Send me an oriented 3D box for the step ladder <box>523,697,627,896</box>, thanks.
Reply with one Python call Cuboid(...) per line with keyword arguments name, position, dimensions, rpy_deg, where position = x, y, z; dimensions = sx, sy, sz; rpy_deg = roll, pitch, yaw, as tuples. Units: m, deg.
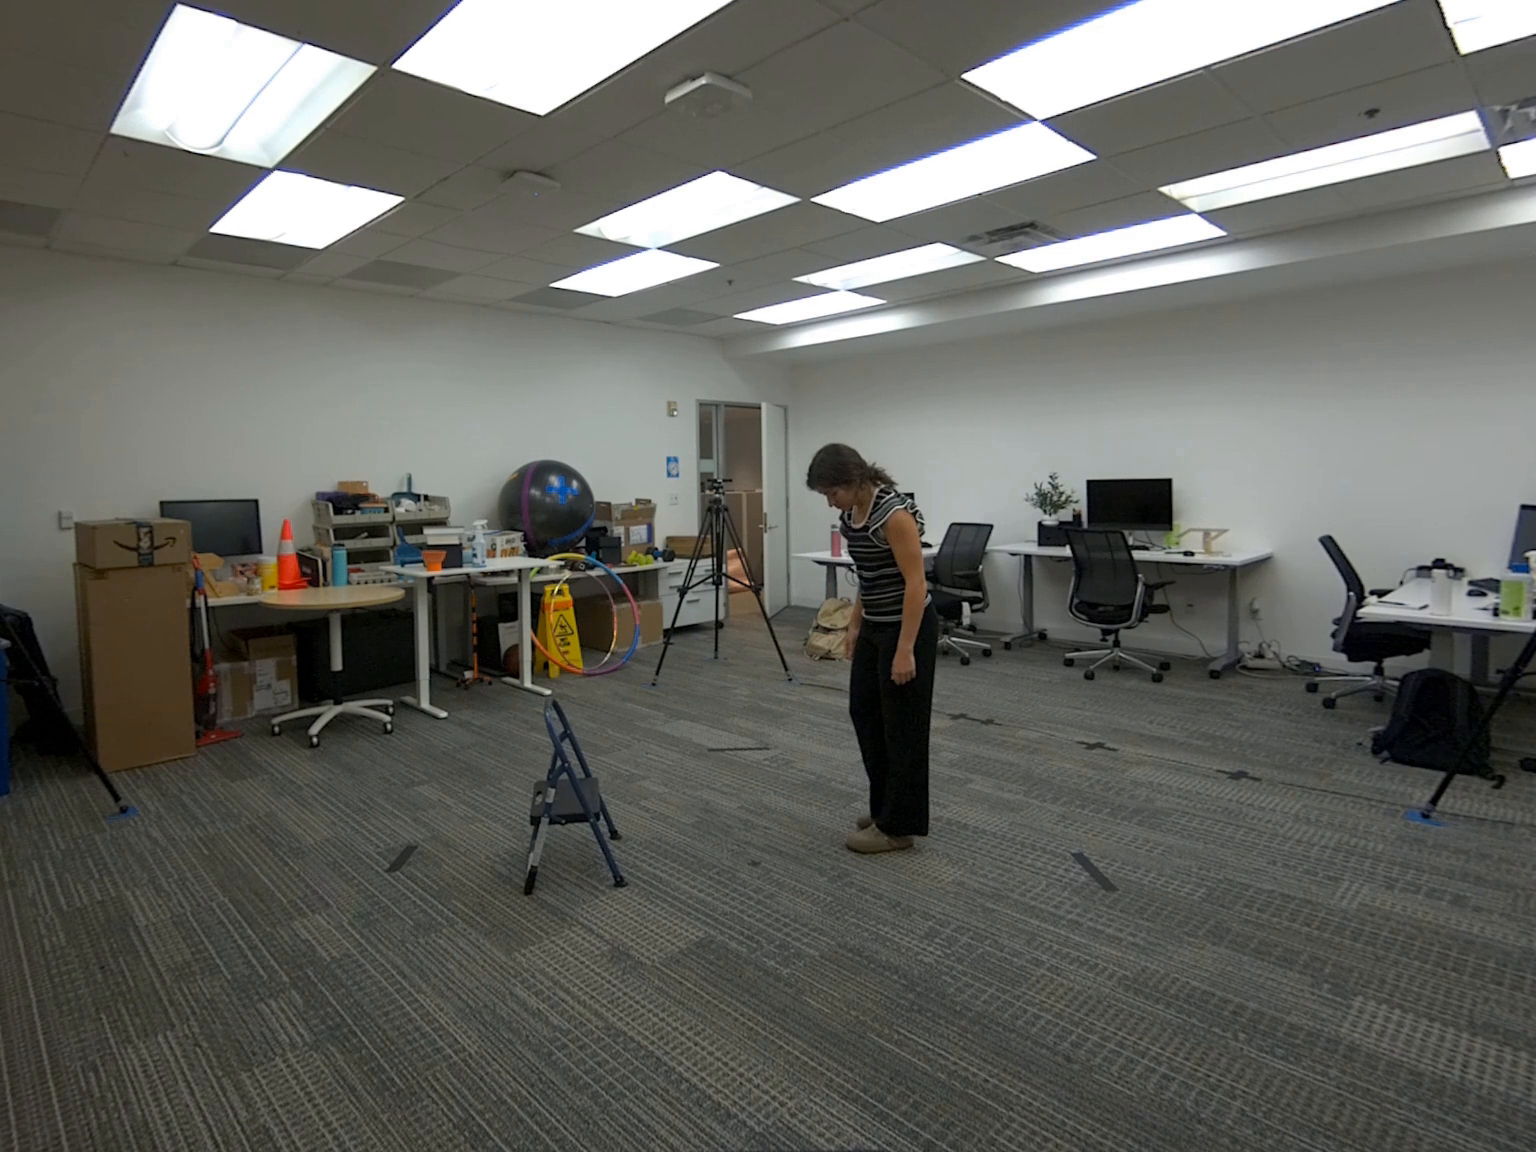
Cuboid(name="step ladder", position=(-0.709, 0.758, 3.107), dimensions=(0.346, 0.604, 0.437), rpy_deg=(-2, 4, -12))
